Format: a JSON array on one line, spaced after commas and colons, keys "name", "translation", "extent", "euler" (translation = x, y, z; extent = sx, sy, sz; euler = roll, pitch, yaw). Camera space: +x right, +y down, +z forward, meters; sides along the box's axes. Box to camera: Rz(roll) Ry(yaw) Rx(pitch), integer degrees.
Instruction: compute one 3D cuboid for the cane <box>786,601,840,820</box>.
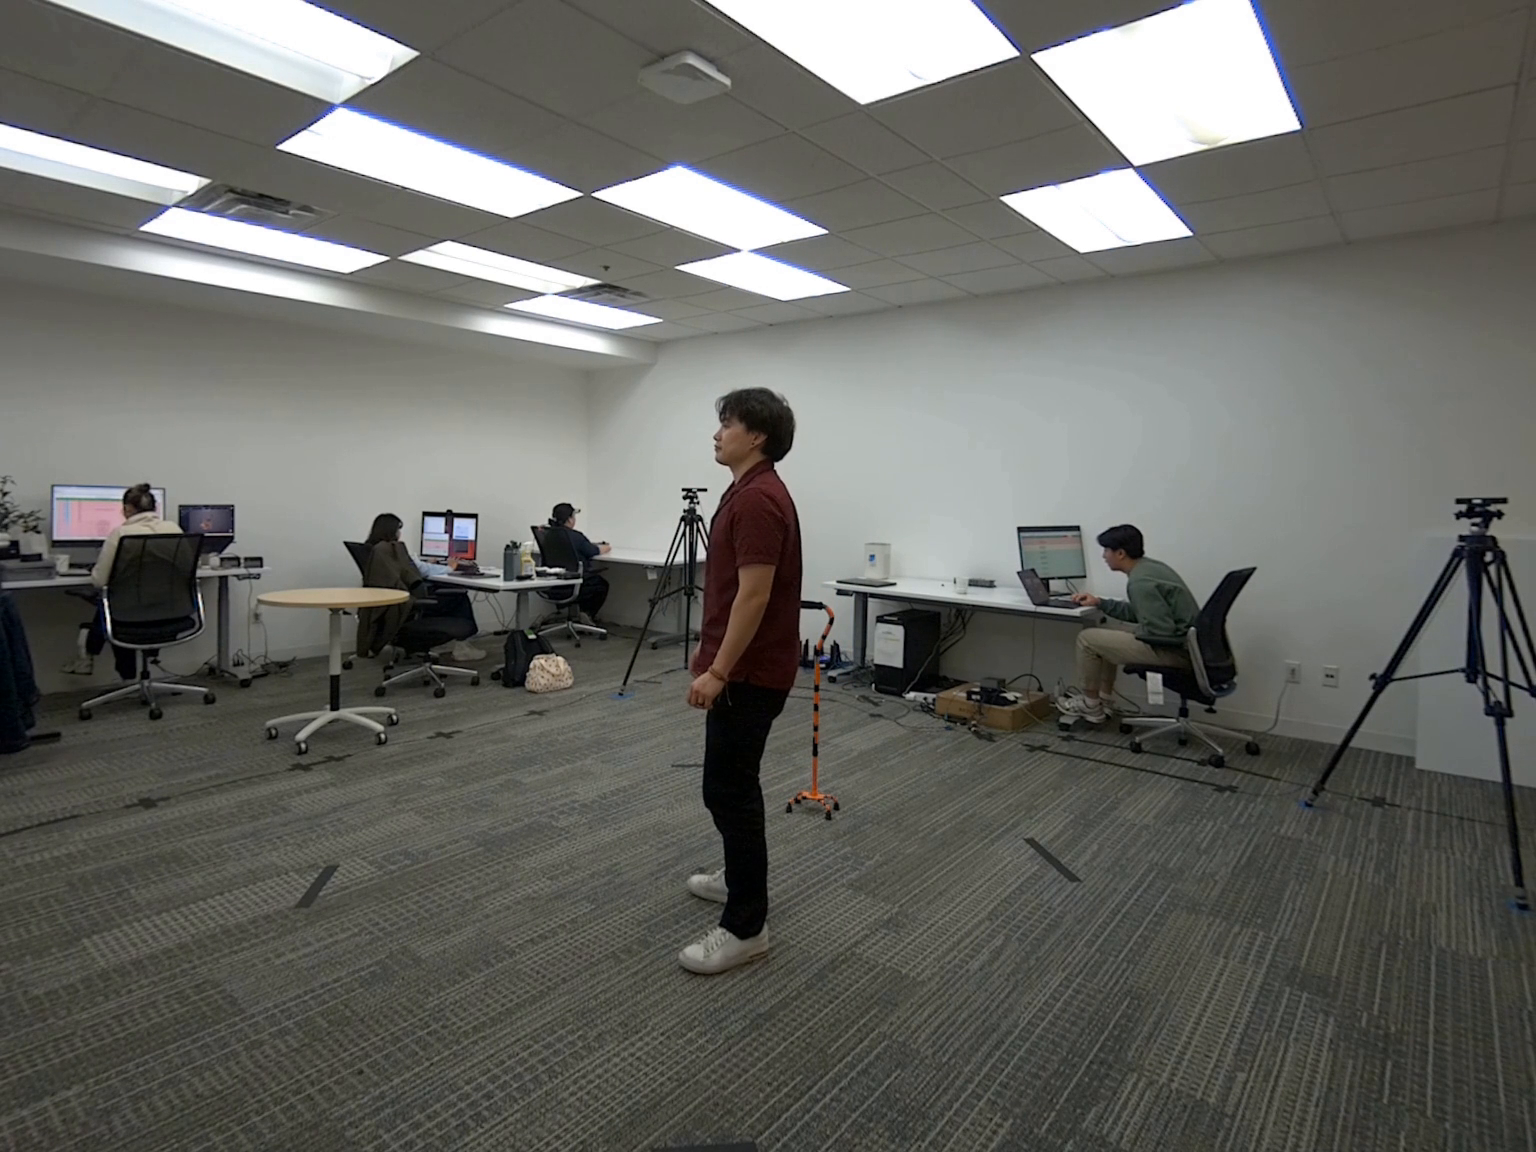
[{"name": "cane", "translation": [0.203, 0.569, 3.685], "extent": [0.211, 0.906, 0.148], "euler": [3, 2, 20]}]
